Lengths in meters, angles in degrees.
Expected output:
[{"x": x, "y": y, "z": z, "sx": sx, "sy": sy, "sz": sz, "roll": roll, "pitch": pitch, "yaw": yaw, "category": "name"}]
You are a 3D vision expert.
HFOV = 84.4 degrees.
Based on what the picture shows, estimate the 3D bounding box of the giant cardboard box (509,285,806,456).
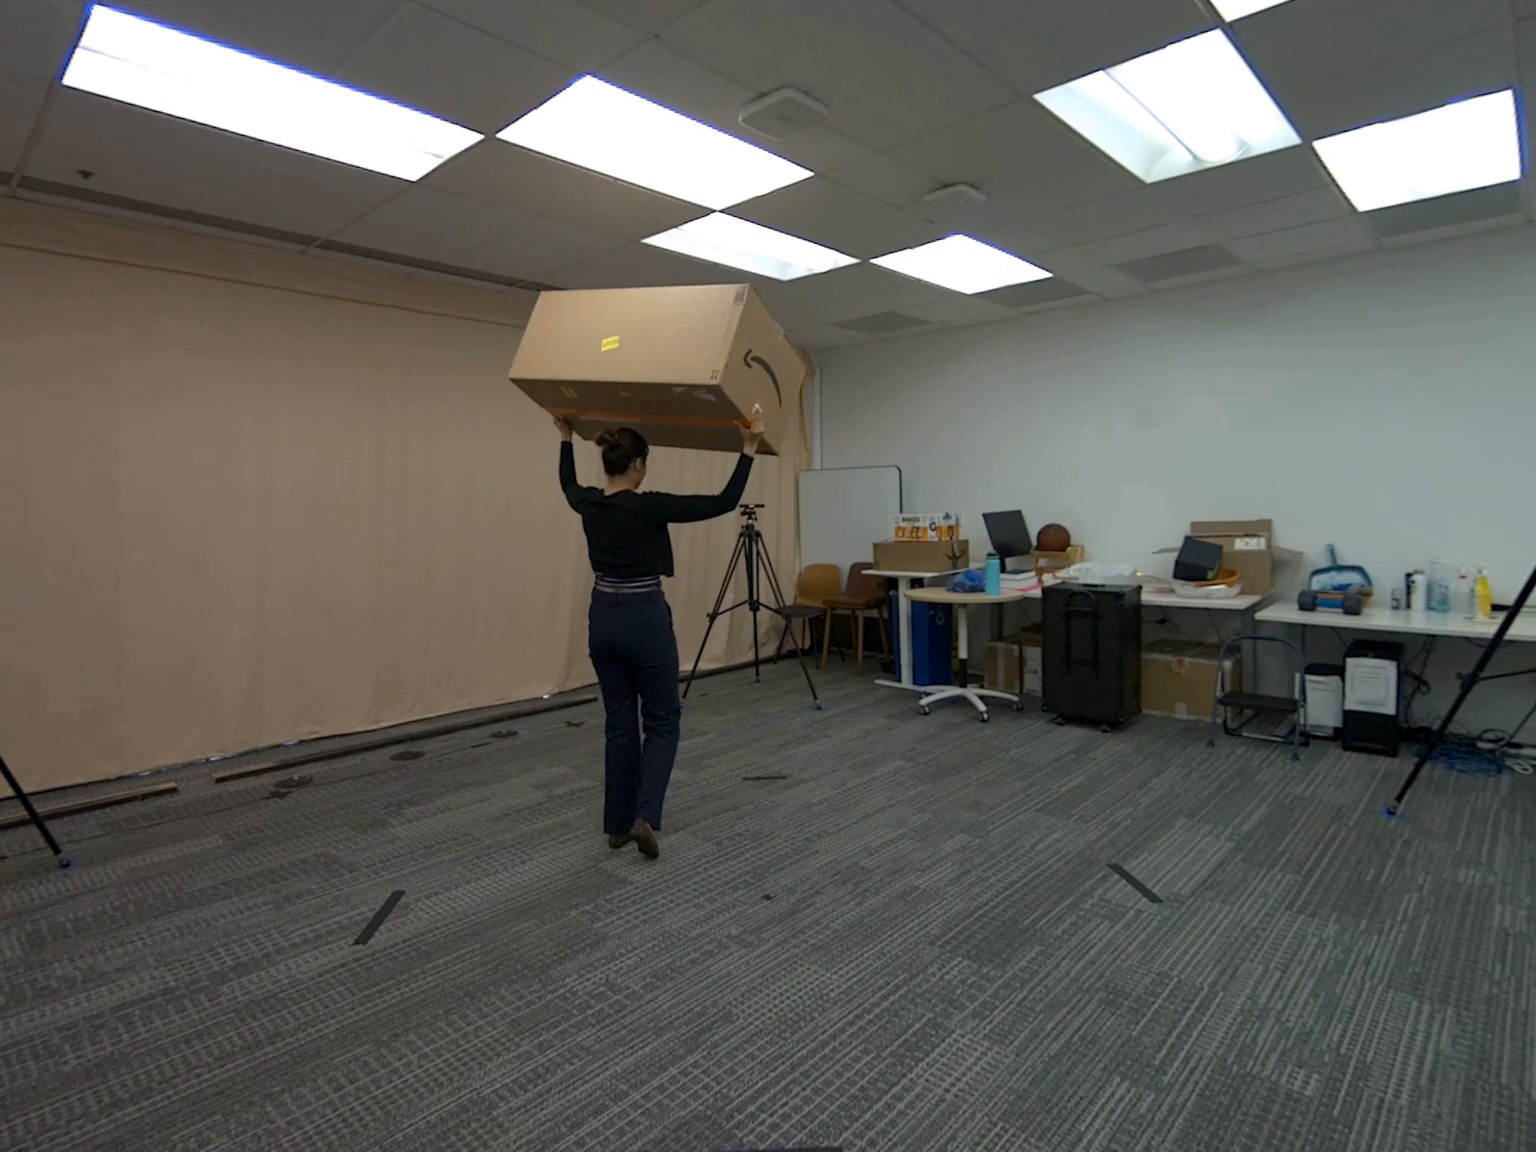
[{"x": -0.452, "y": -0.836, "z": 3.488, "sx": 1.057, "sy": 0.428, "sz": 0.558, "roll": 9, "pitch": -15, "yaw": 29, "category": "giant cardboard box"}]
